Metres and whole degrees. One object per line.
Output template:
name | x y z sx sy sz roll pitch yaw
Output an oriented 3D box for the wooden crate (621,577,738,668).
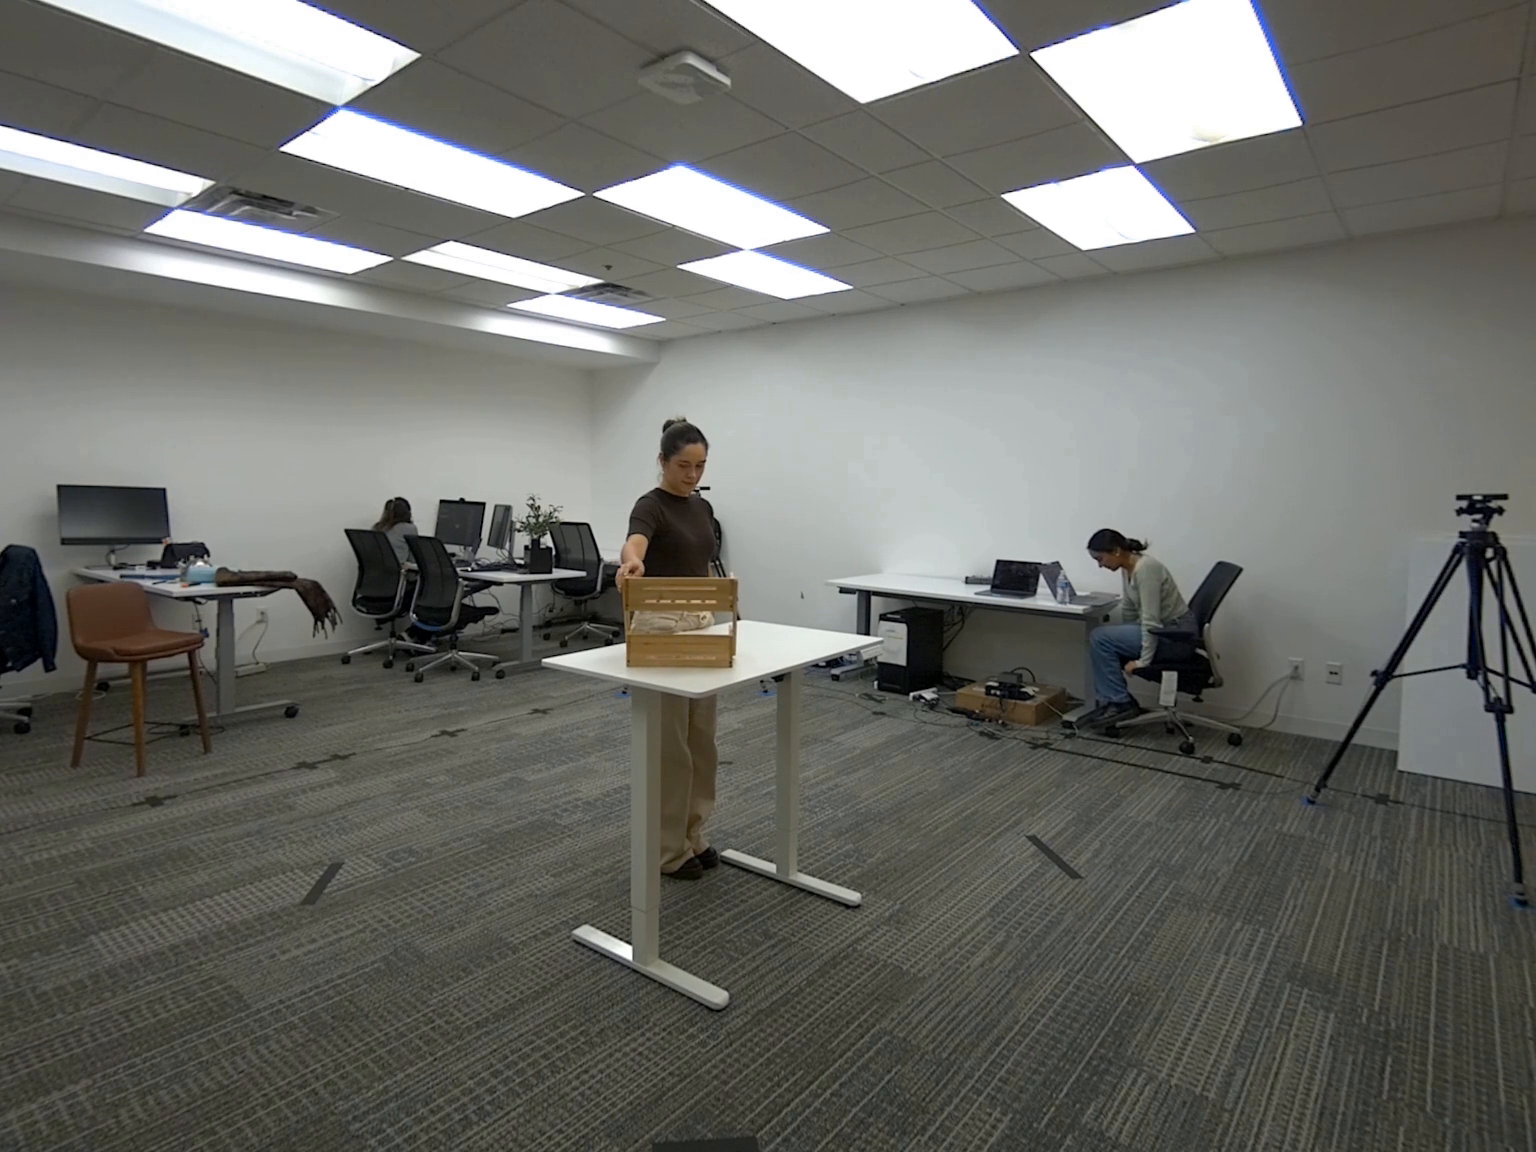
wooden crate | -0.267 0.114 2.496 0.324 0.272 0.303 0 6 -1
